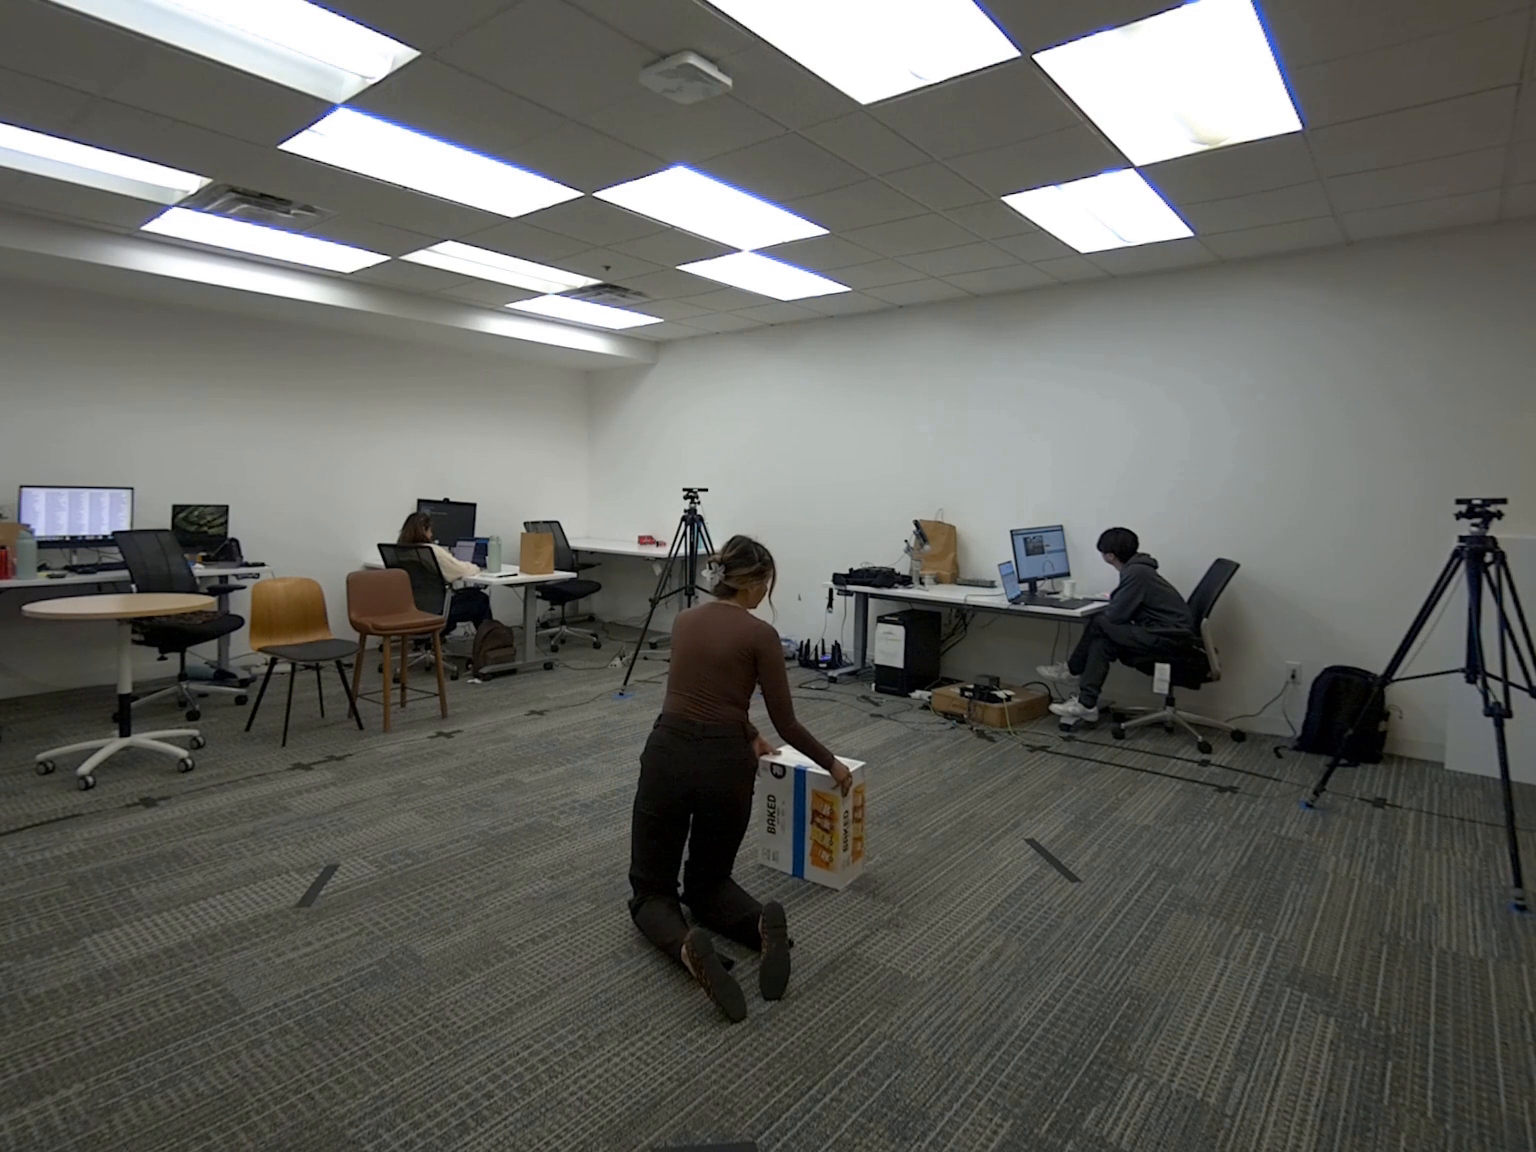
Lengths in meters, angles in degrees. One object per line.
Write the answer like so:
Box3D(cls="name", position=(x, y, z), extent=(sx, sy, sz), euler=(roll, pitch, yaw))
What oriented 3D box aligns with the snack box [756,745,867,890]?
Box3D(cls="snack box", position=(0.156, 0.873, 3.128), extent=(0.351, 0.404, 0.200), euler=(4, 5, 35))
